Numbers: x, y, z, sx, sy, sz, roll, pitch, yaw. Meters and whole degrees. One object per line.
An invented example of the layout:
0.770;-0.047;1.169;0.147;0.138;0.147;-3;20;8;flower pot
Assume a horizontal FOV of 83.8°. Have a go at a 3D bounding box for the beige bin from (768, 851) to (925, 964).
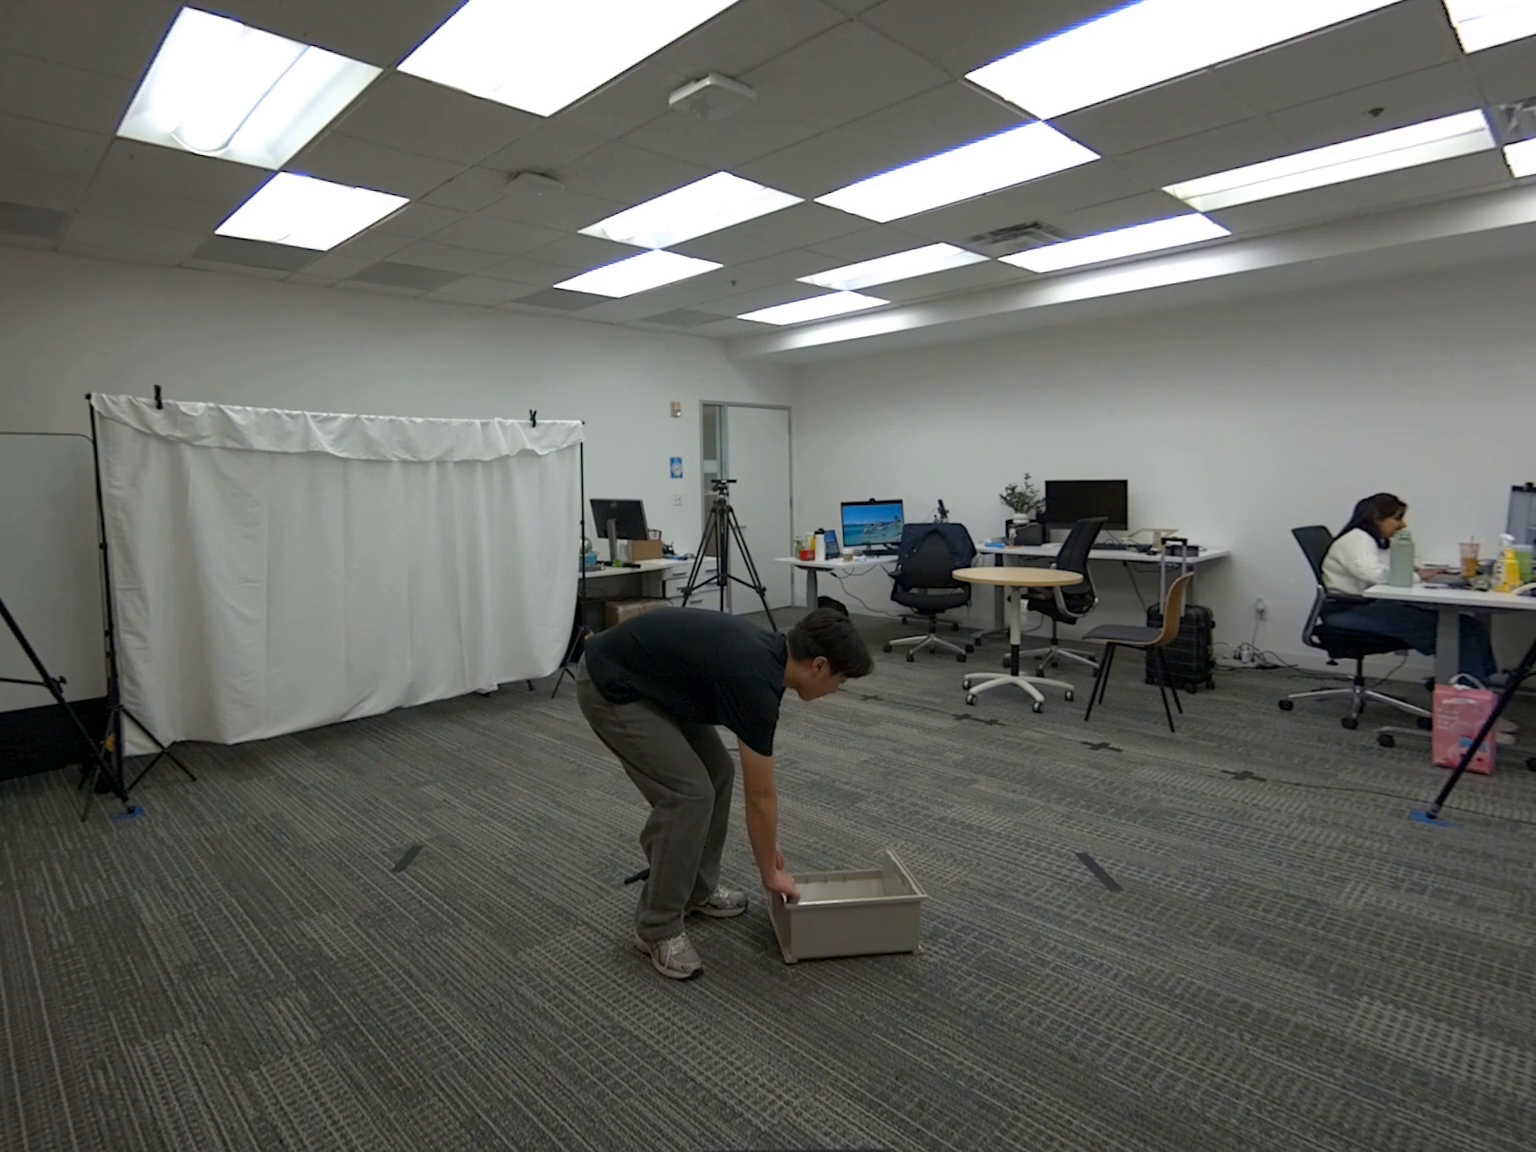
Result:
0.221;1.002;2.643;0.419;0.188;0.382;0;7;-9;beige bin
